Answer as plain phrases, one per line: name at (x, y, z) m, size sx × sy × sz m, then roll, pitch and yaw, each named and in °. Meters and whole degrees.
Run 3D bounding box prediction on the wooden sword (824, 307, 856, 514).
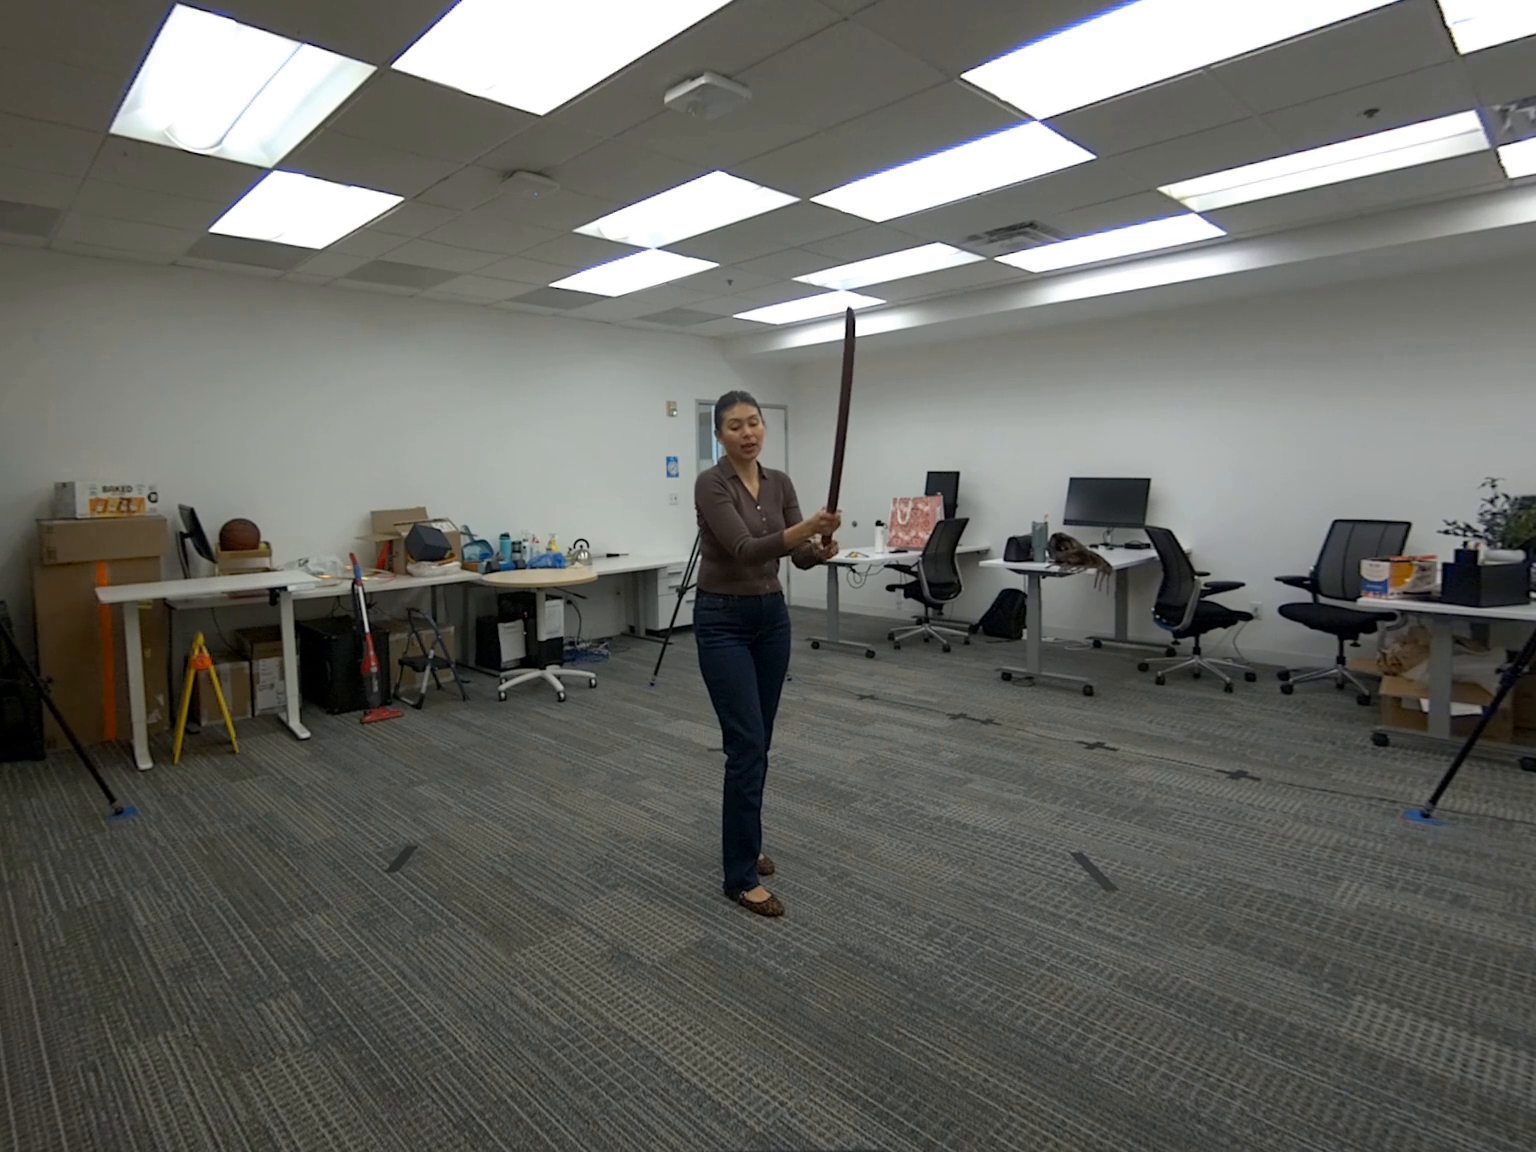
wooden sword at (0.198, -0.326, 2.341) m, size 0.024 × 0.053 × 0.996 m, roll -4°, pitch -36°, yaw -2°
